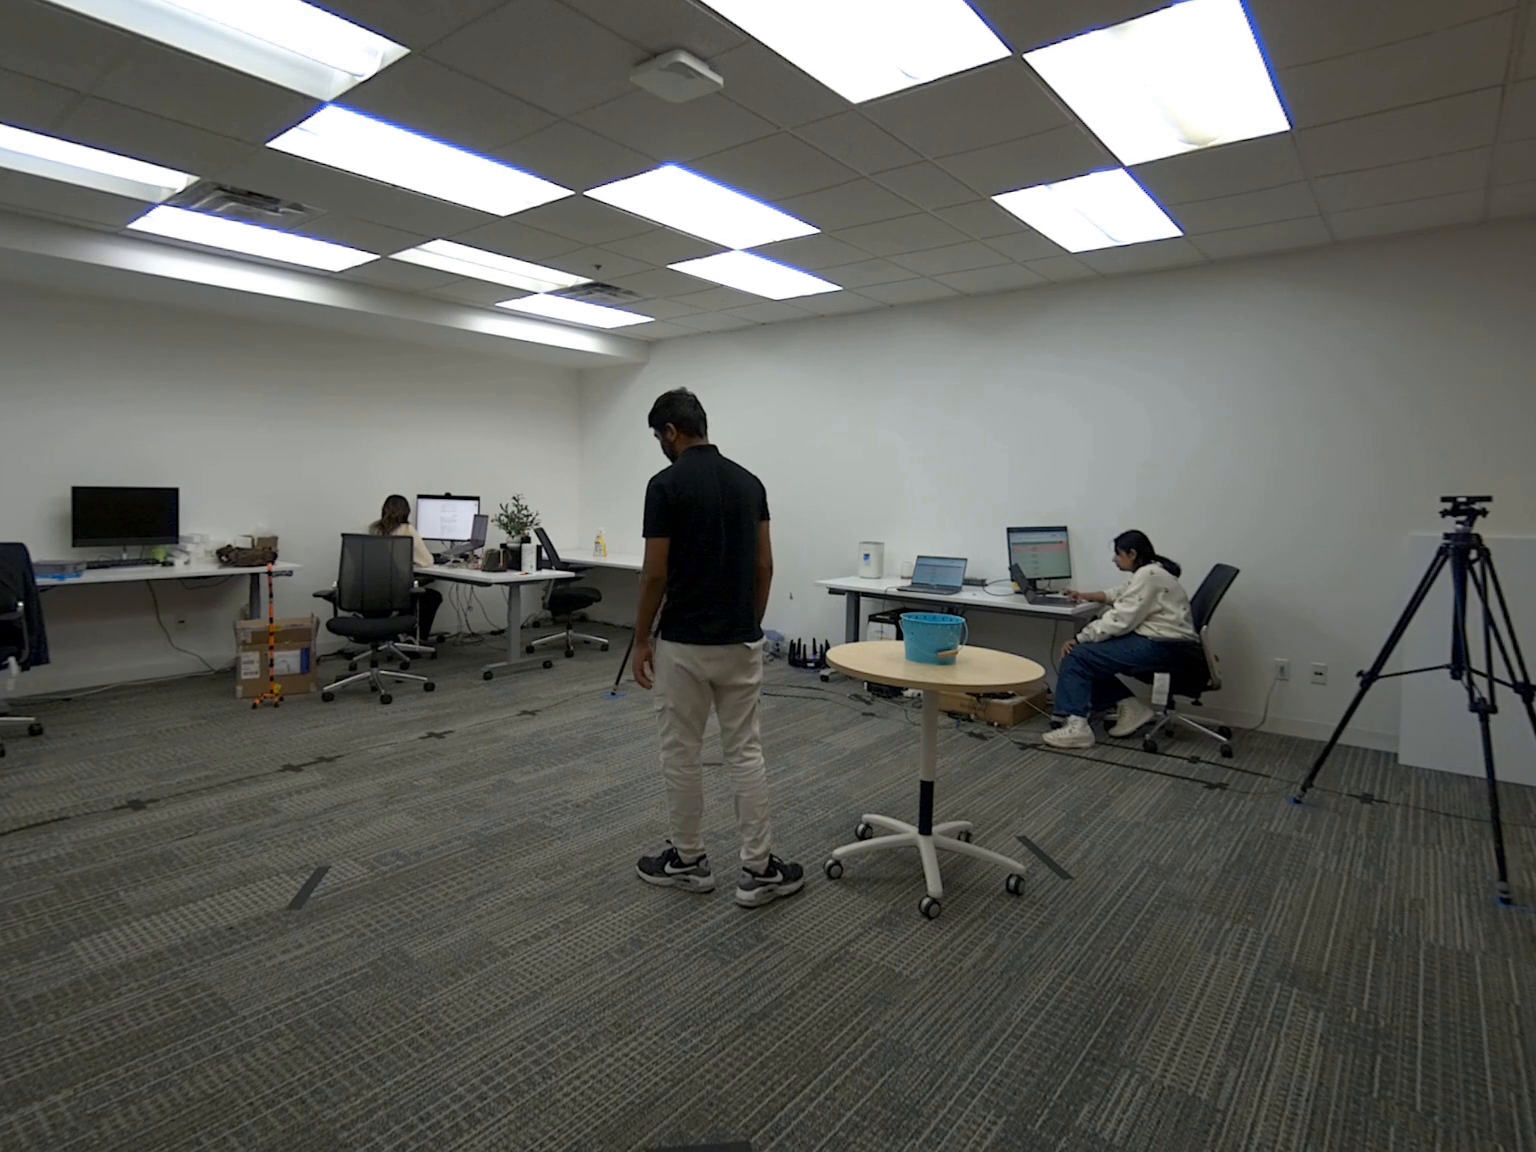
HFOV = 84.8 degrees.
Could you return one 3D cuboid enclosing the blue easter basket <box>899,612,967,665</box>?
[{"bbox_3d":[0.593,0.224,3.105,0.243,0.155,0.245,2,5,-2],"label":"blue easter basket"}]
